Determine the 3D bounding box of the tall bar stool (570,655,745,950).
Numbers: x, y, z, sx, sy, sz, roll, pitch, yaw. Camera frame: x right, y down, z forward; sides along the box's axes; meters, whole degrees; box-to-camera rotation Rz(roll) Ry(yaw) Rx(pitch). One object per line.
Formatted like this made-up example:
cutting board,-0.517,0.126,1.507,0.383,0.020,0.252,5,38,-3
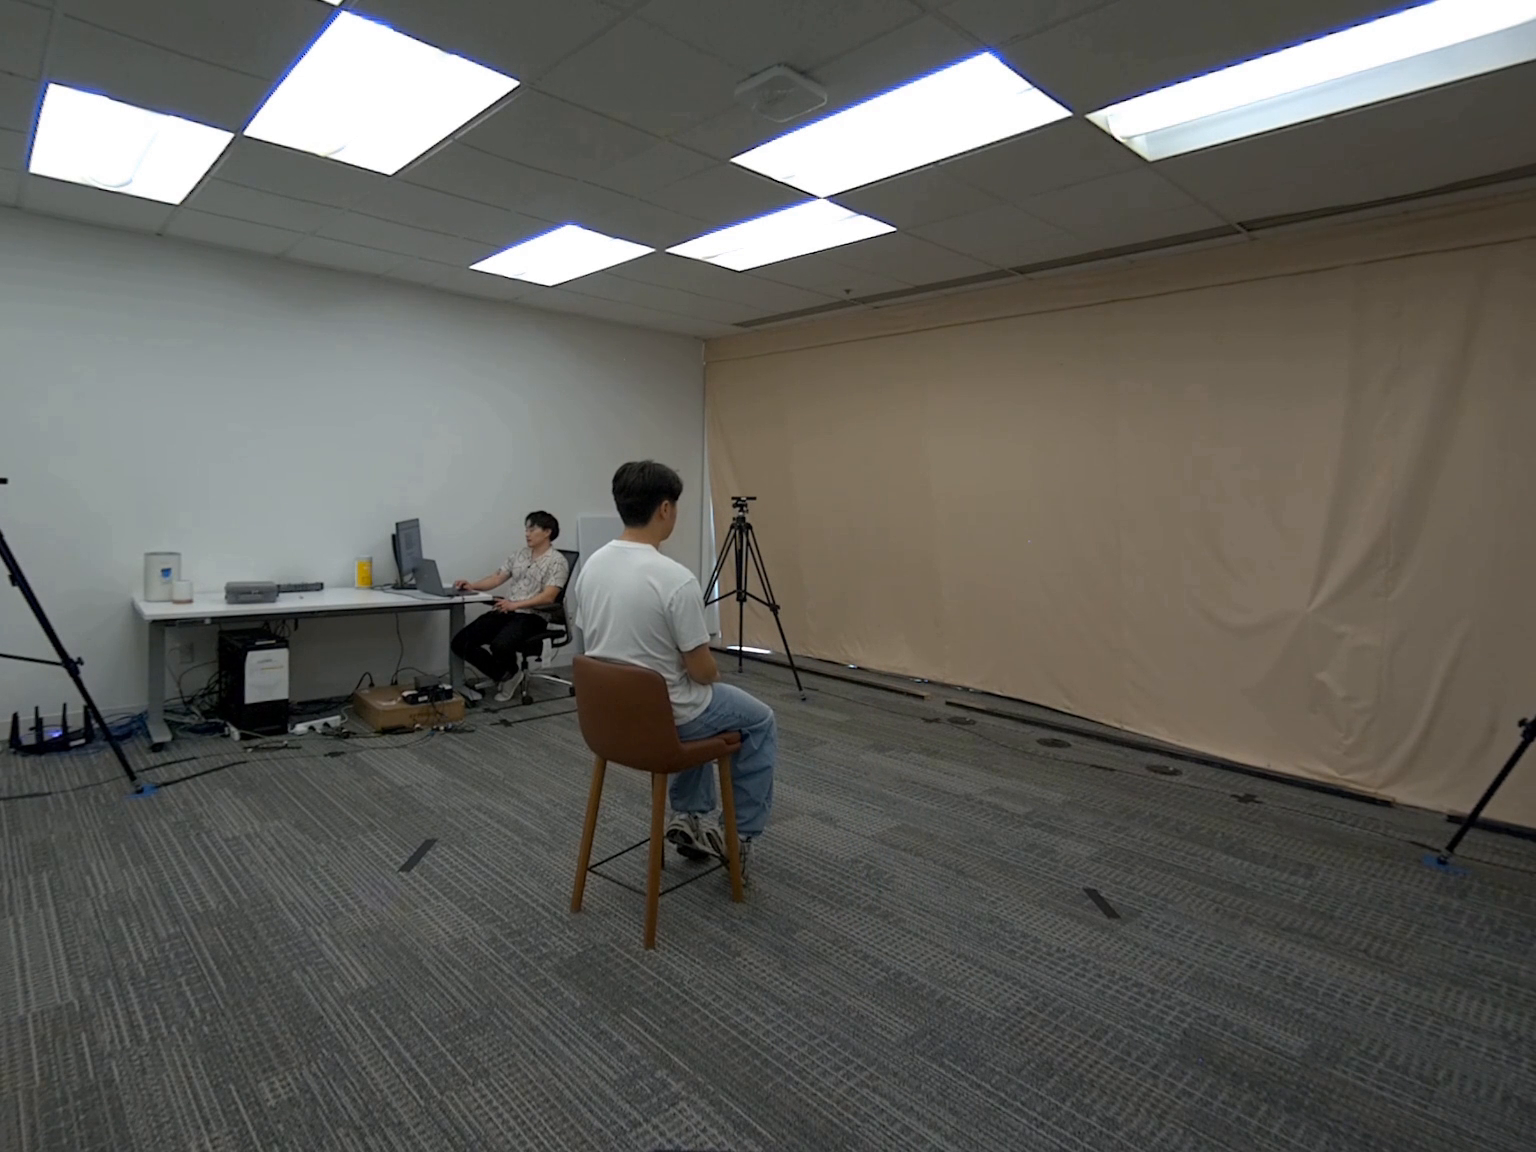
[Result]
tall bar stool,-0.389,0.691,2.836,0.467,0.887,0.458,2,6,38
